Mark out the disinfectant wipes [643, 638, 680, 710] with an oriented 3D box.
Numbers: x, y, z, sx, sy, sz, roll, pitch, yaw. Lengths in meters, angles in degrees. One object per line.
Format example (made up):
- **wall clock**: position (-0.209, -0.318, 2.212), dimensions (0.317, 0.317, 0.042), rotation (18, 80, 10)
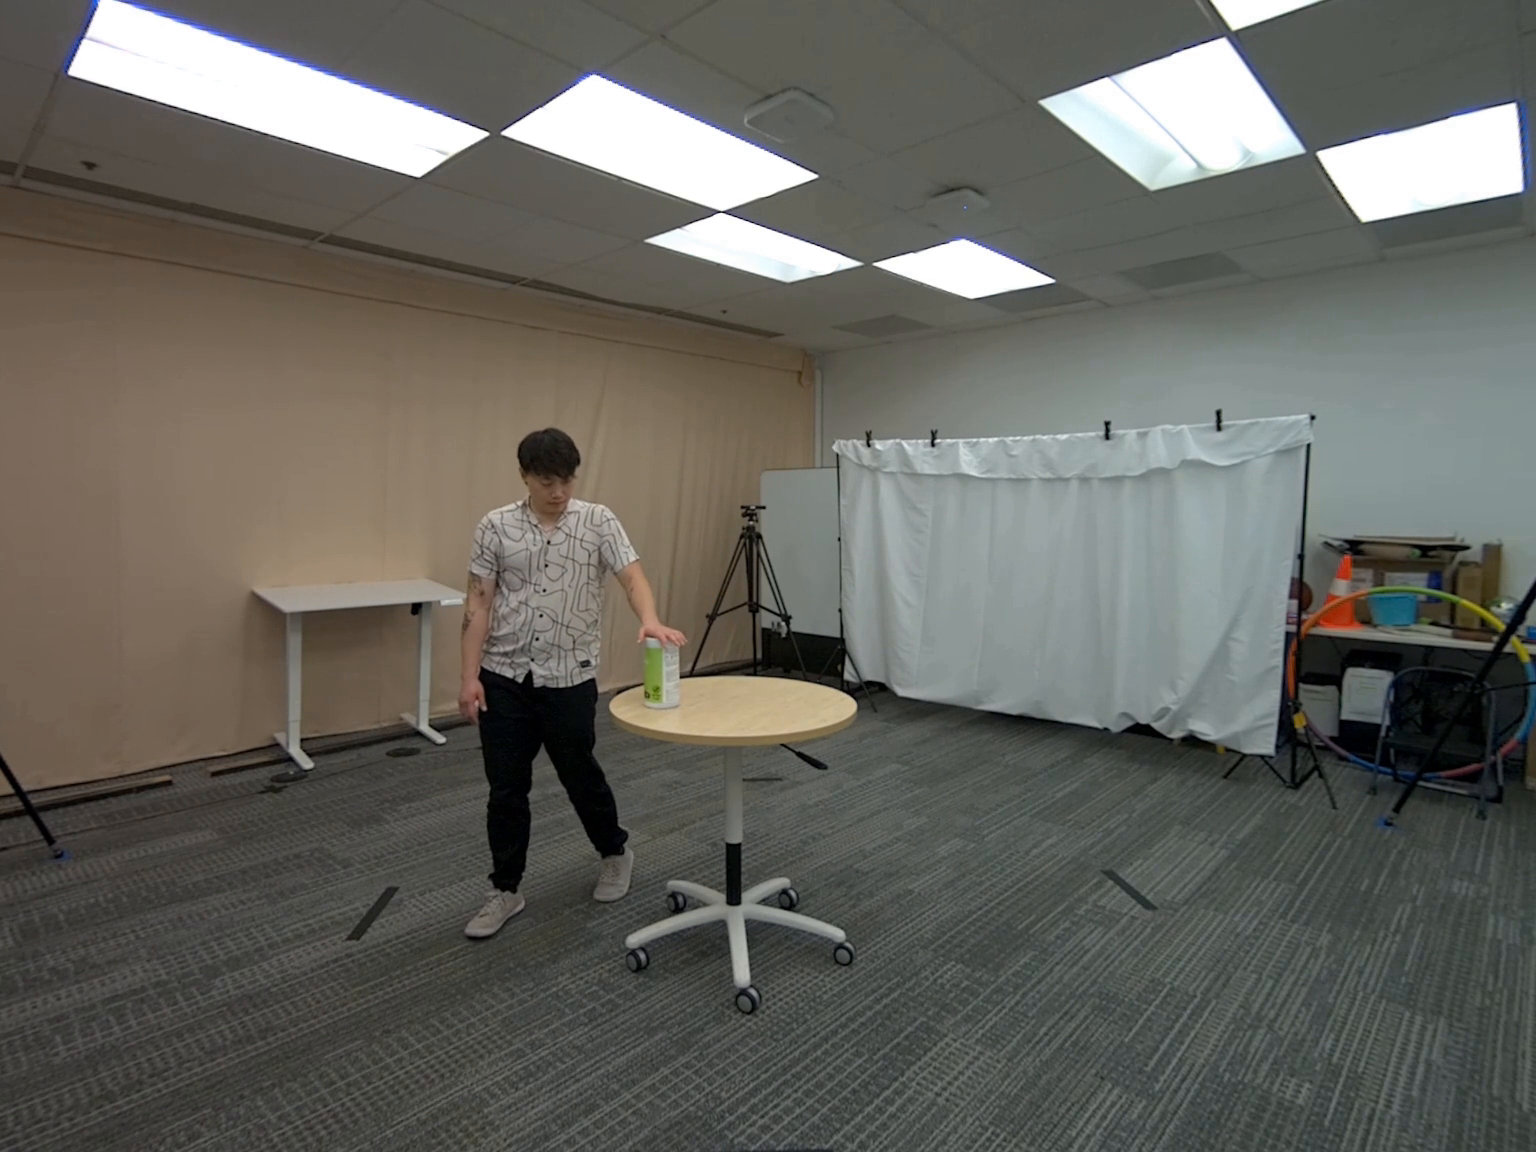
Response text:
- **disinfectant wipes**: position (-0.321, 0.295, 2.583), dimensions (0.117, 0.217, 0.118), rotation (2, 3, -2)
